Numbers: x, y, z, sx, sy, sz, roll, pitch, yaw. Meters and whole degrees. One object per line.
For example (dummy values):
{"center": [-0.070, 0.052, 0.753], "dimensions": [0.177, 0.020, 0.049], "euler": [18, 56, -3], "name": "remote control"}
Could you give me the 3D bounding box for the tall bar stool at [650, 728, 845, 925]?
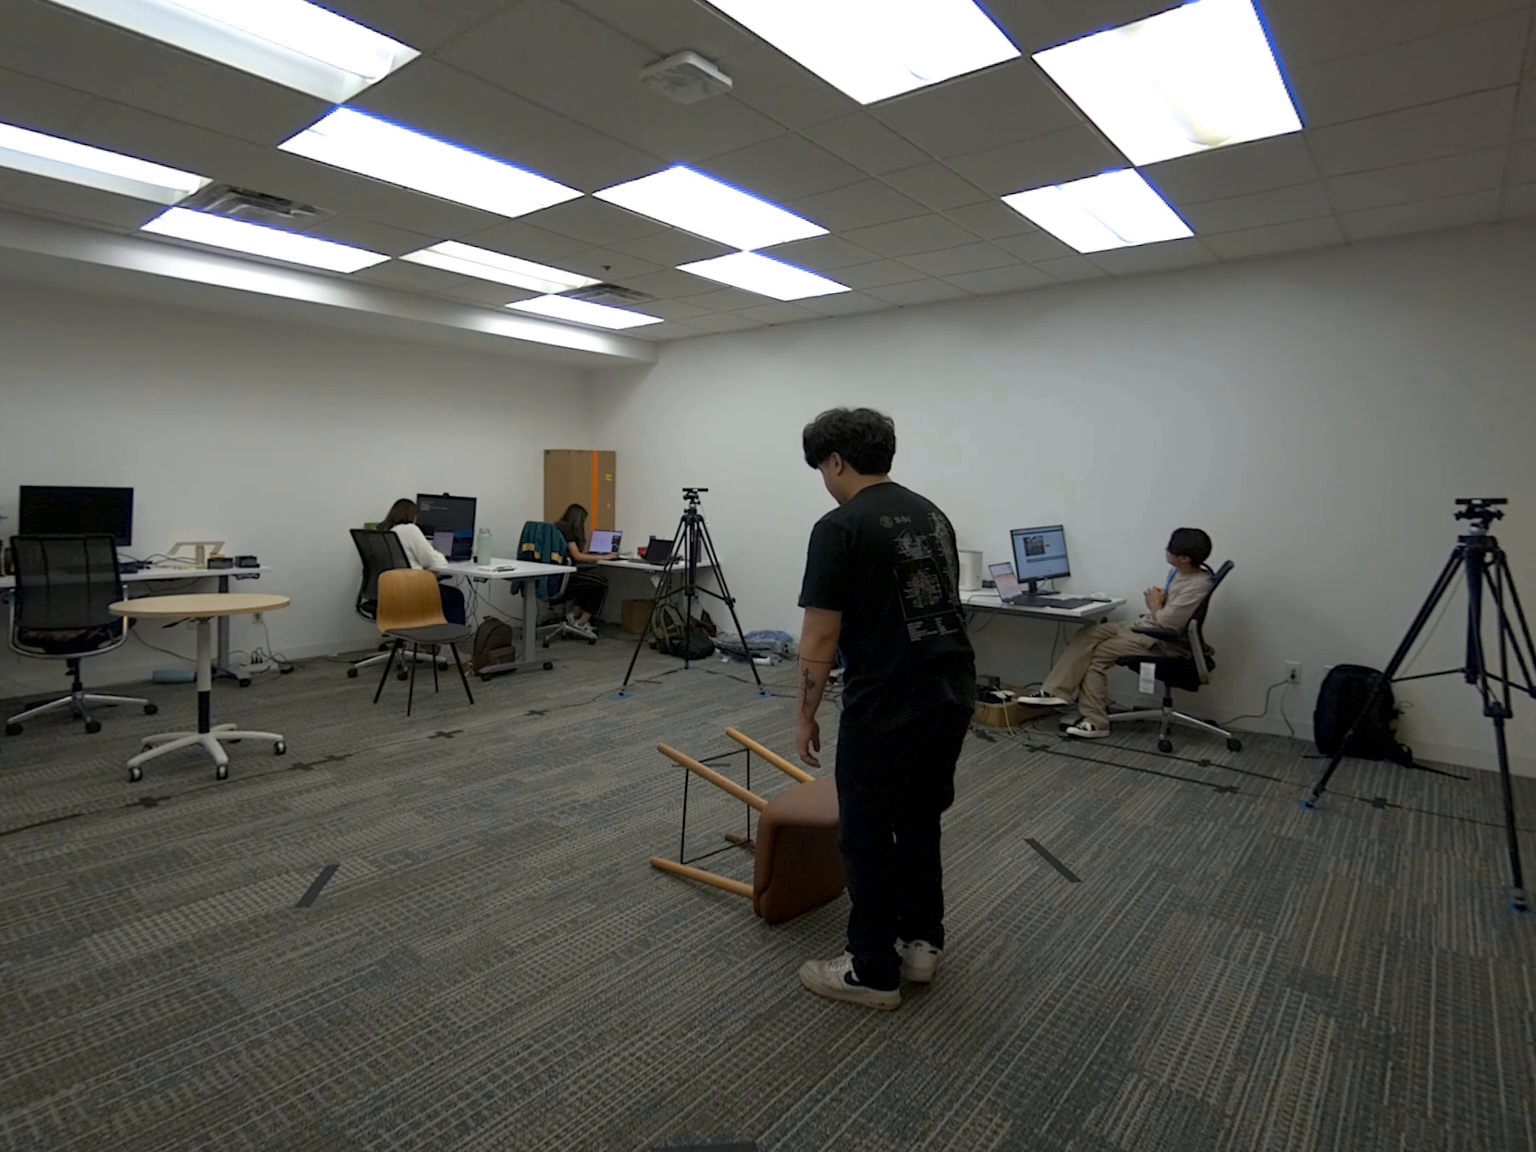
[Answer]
{"center": [0.019, 0.864, 2.930], "dimensions": [0.920, 0.466, 0.442], "euler": [5, 5, 45], "name": "tall bar stool"}
